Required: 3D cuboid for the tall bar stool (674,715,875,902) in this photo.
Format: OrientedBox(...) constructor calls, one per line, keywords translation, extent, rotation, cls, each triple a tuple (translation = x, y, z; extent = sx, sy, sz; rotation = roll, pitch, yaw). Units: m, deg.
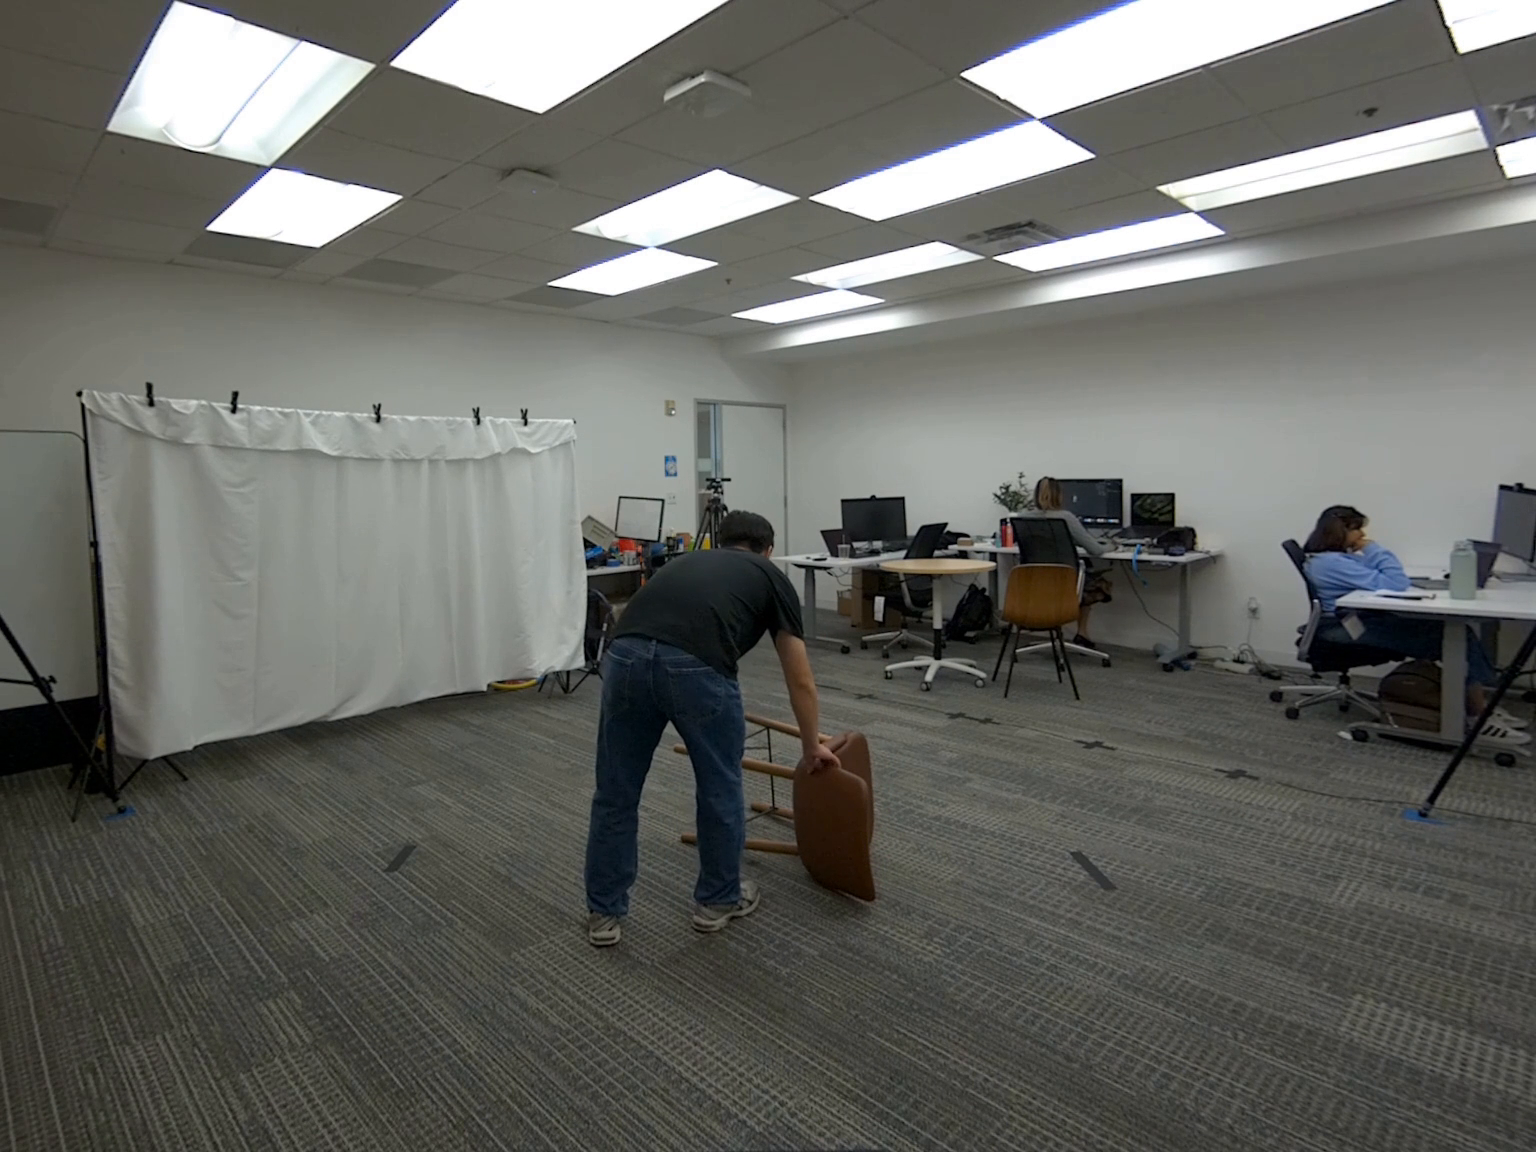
OrientedBox(translation=(0.128, 0.815, 3.154), extent=(0.916, 0.455, 0.456), rotation=(1, 6, 42), cls="tall bar stool")
